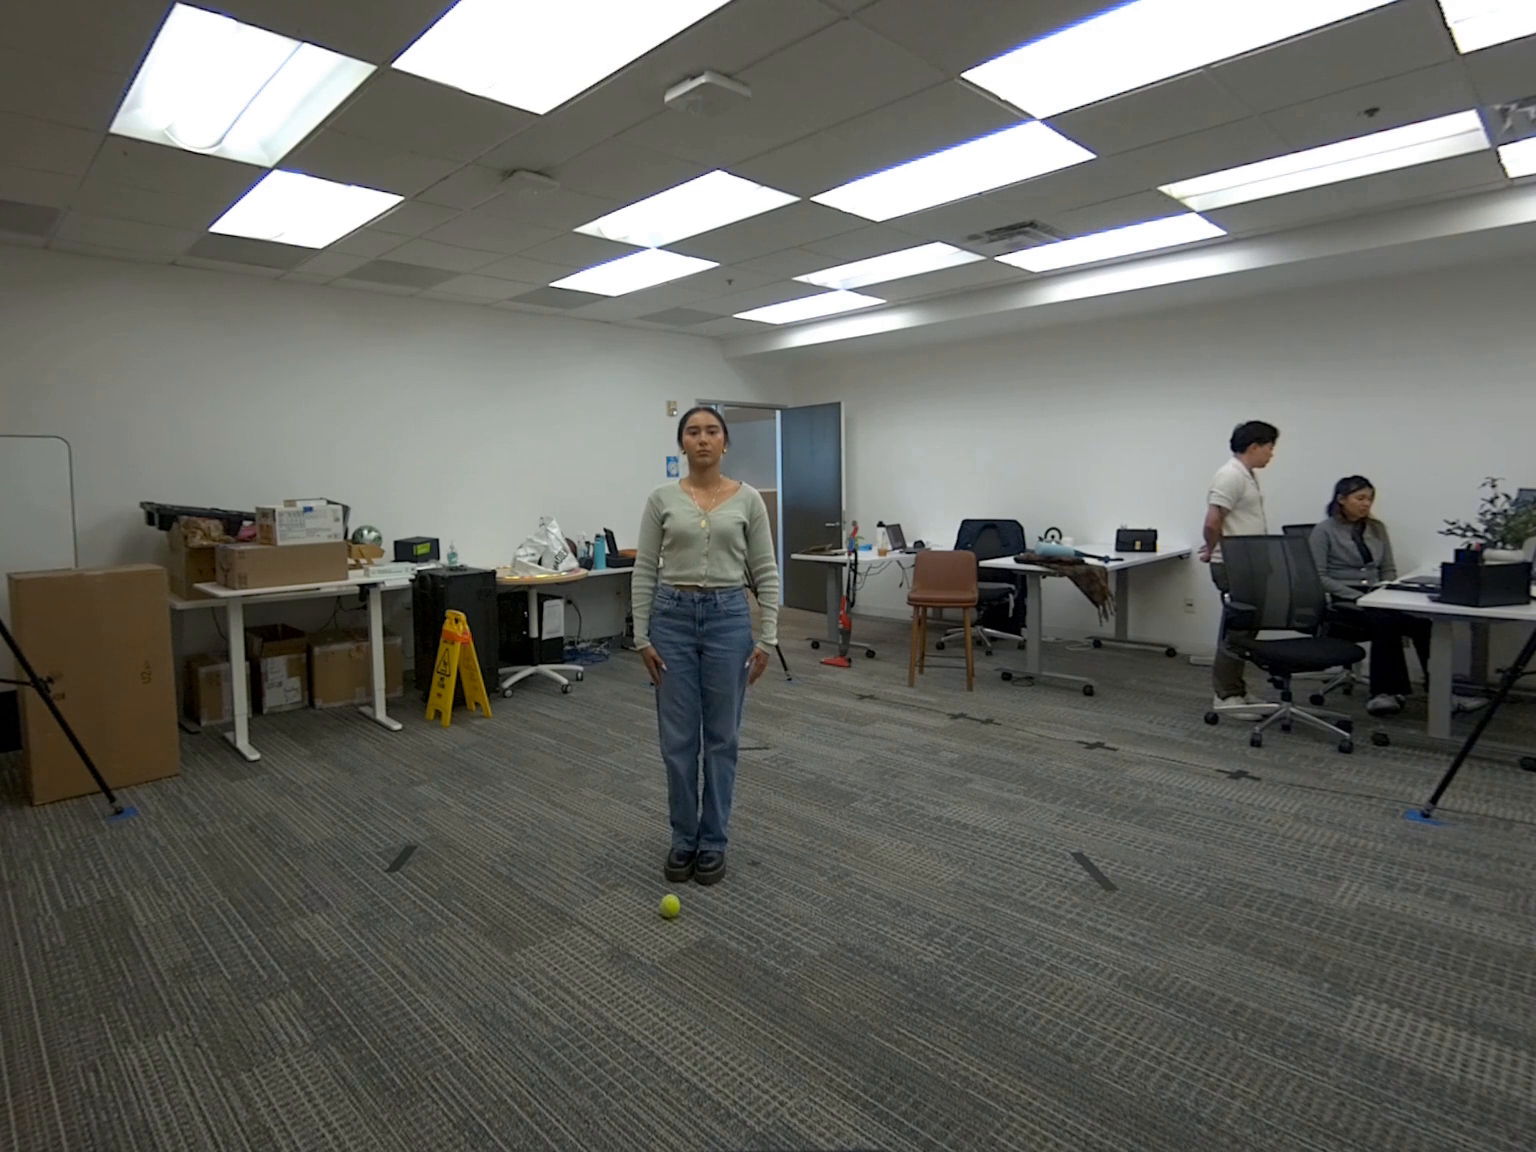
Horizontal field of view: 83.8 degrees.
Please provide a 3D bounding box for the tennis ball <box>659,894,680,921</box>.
[{"bbox_3d":[-0.308,1.050,2.739,0.066,0.066,0.067,-1,5,-2],"label":"tennis ball"}]
